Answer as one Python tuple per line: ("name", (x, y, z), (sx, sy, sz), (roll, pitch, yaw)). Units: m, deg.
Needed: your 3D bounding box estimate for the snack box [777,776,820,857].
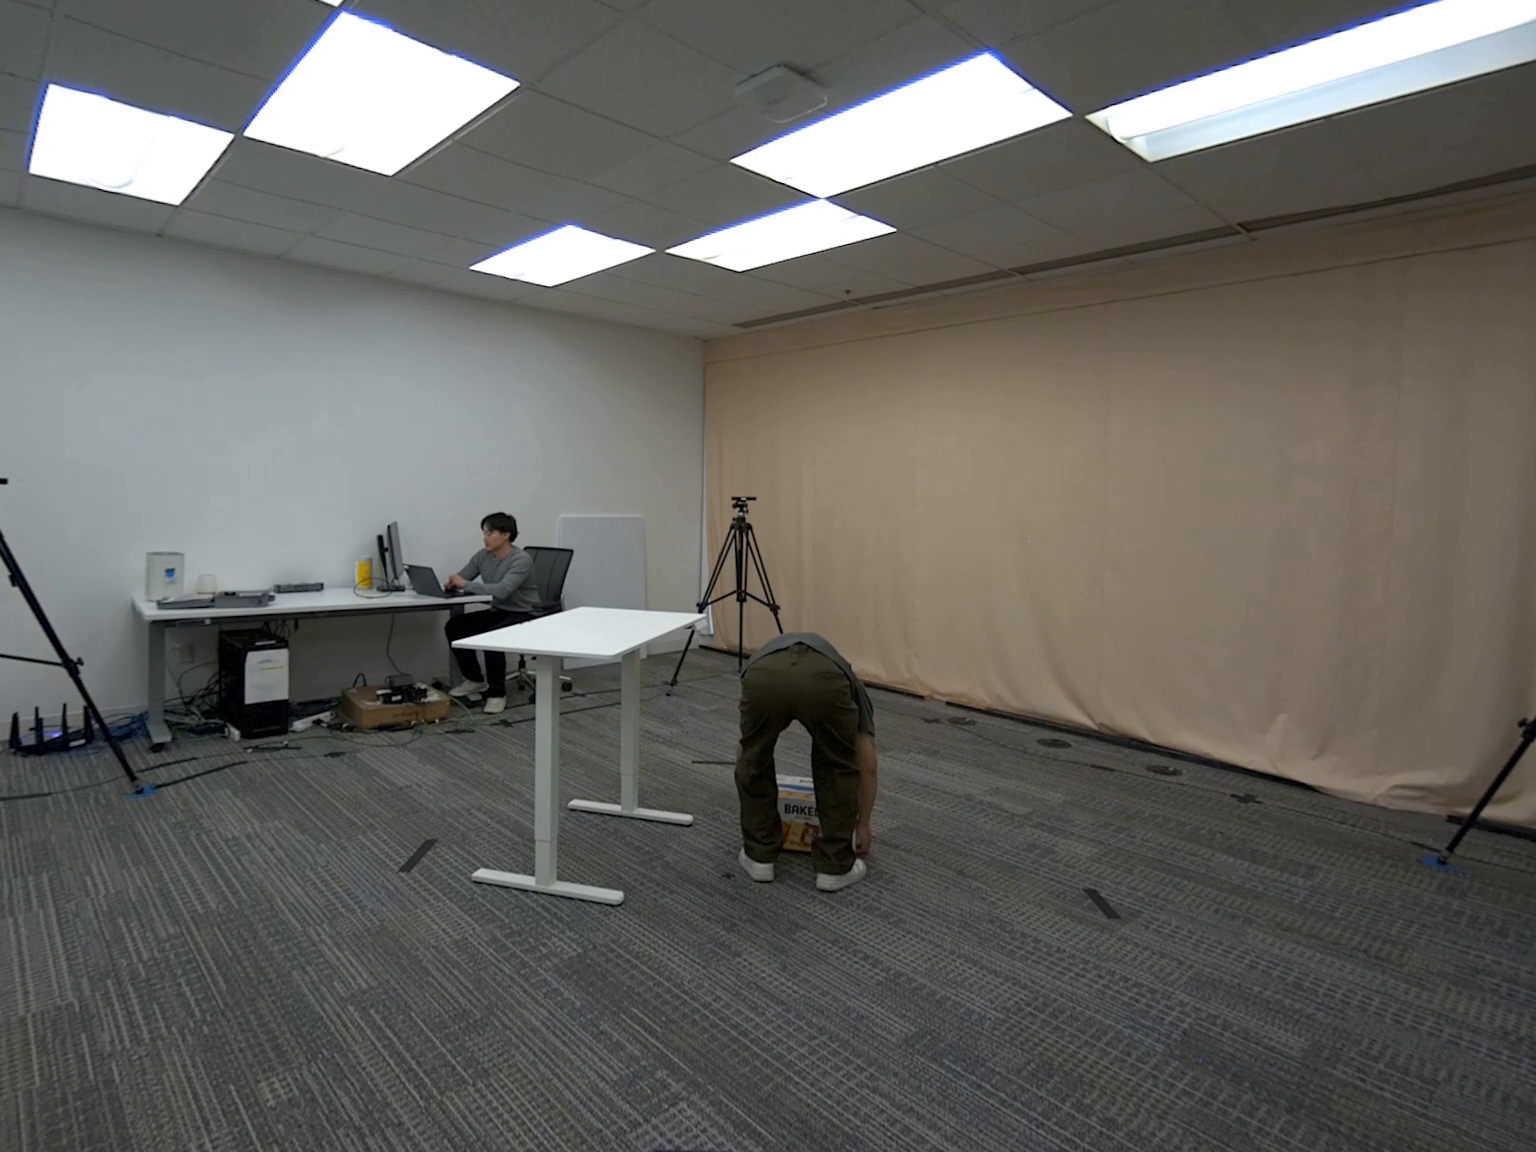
("snack box", (0.173, 0.975, 3.445), (0.410, 0.206, 0.336), (2, 1, 15))
